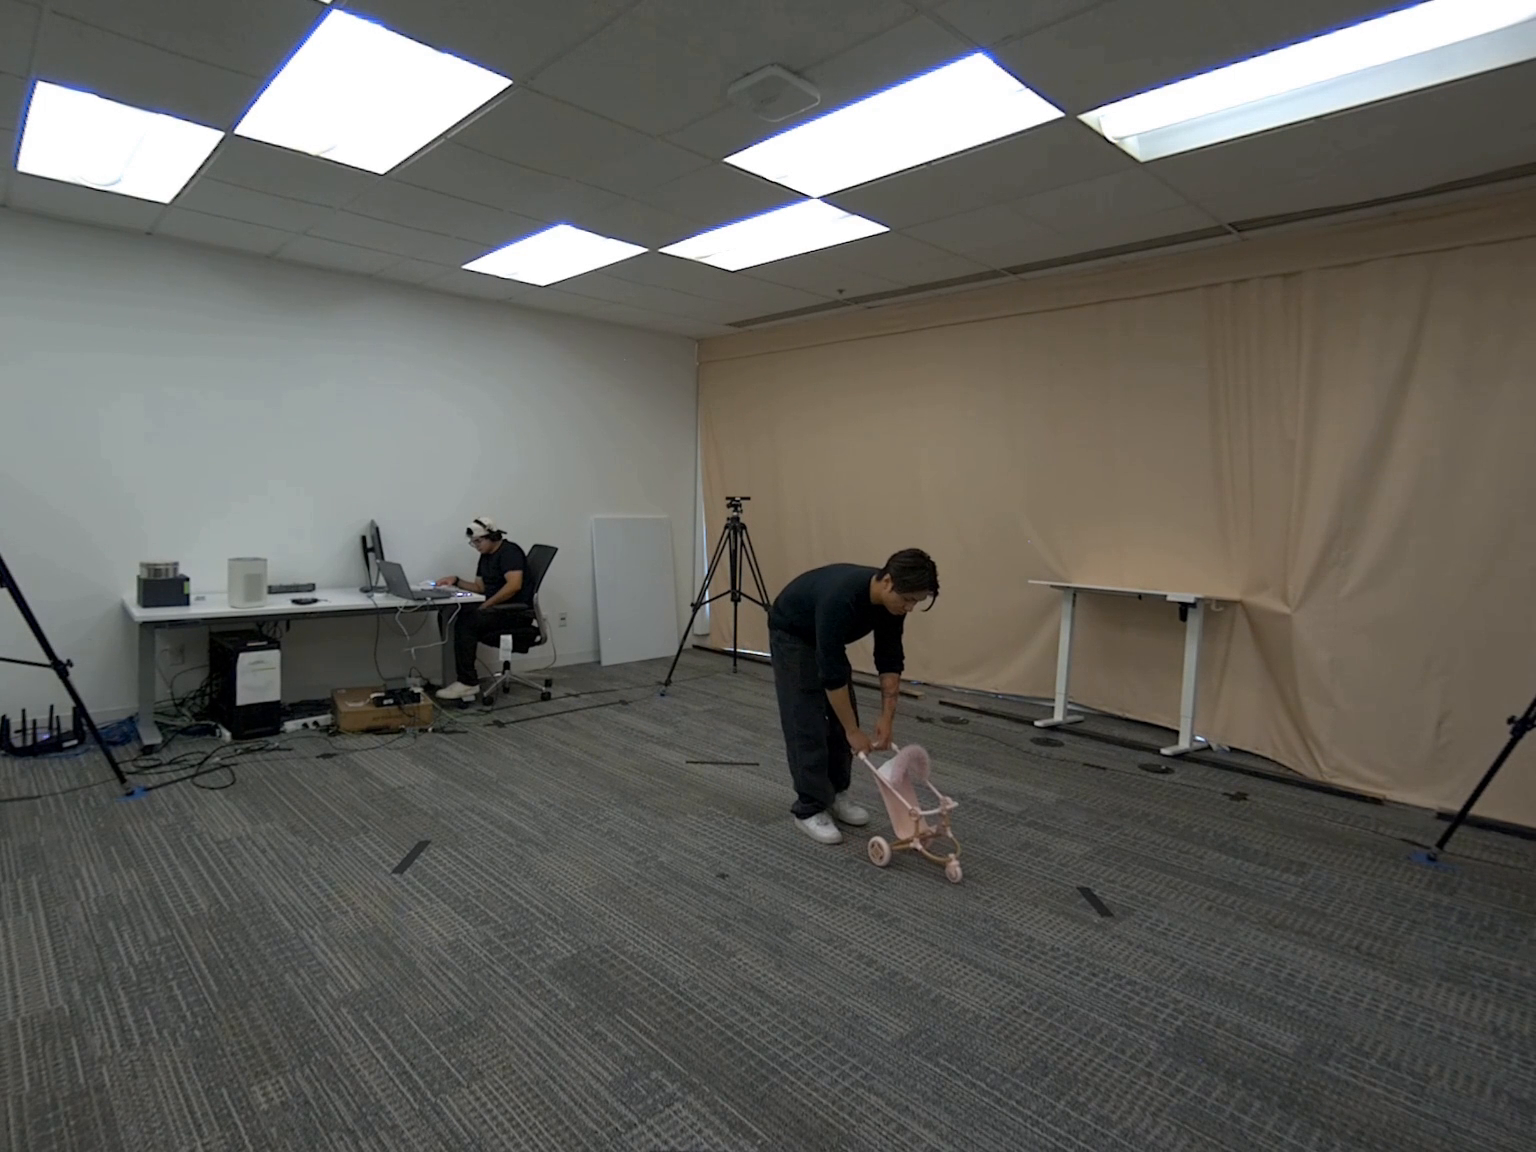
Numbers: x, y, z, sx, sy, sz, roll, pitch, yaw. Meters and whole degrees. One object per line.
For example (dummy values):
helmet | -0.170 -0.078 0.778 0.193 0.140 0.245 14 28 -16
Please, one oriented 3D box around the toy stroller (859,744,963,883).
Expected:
toy stroller | 0.556 0.891 3.243 0.275 0.540 0.345 -1 -13 -36
